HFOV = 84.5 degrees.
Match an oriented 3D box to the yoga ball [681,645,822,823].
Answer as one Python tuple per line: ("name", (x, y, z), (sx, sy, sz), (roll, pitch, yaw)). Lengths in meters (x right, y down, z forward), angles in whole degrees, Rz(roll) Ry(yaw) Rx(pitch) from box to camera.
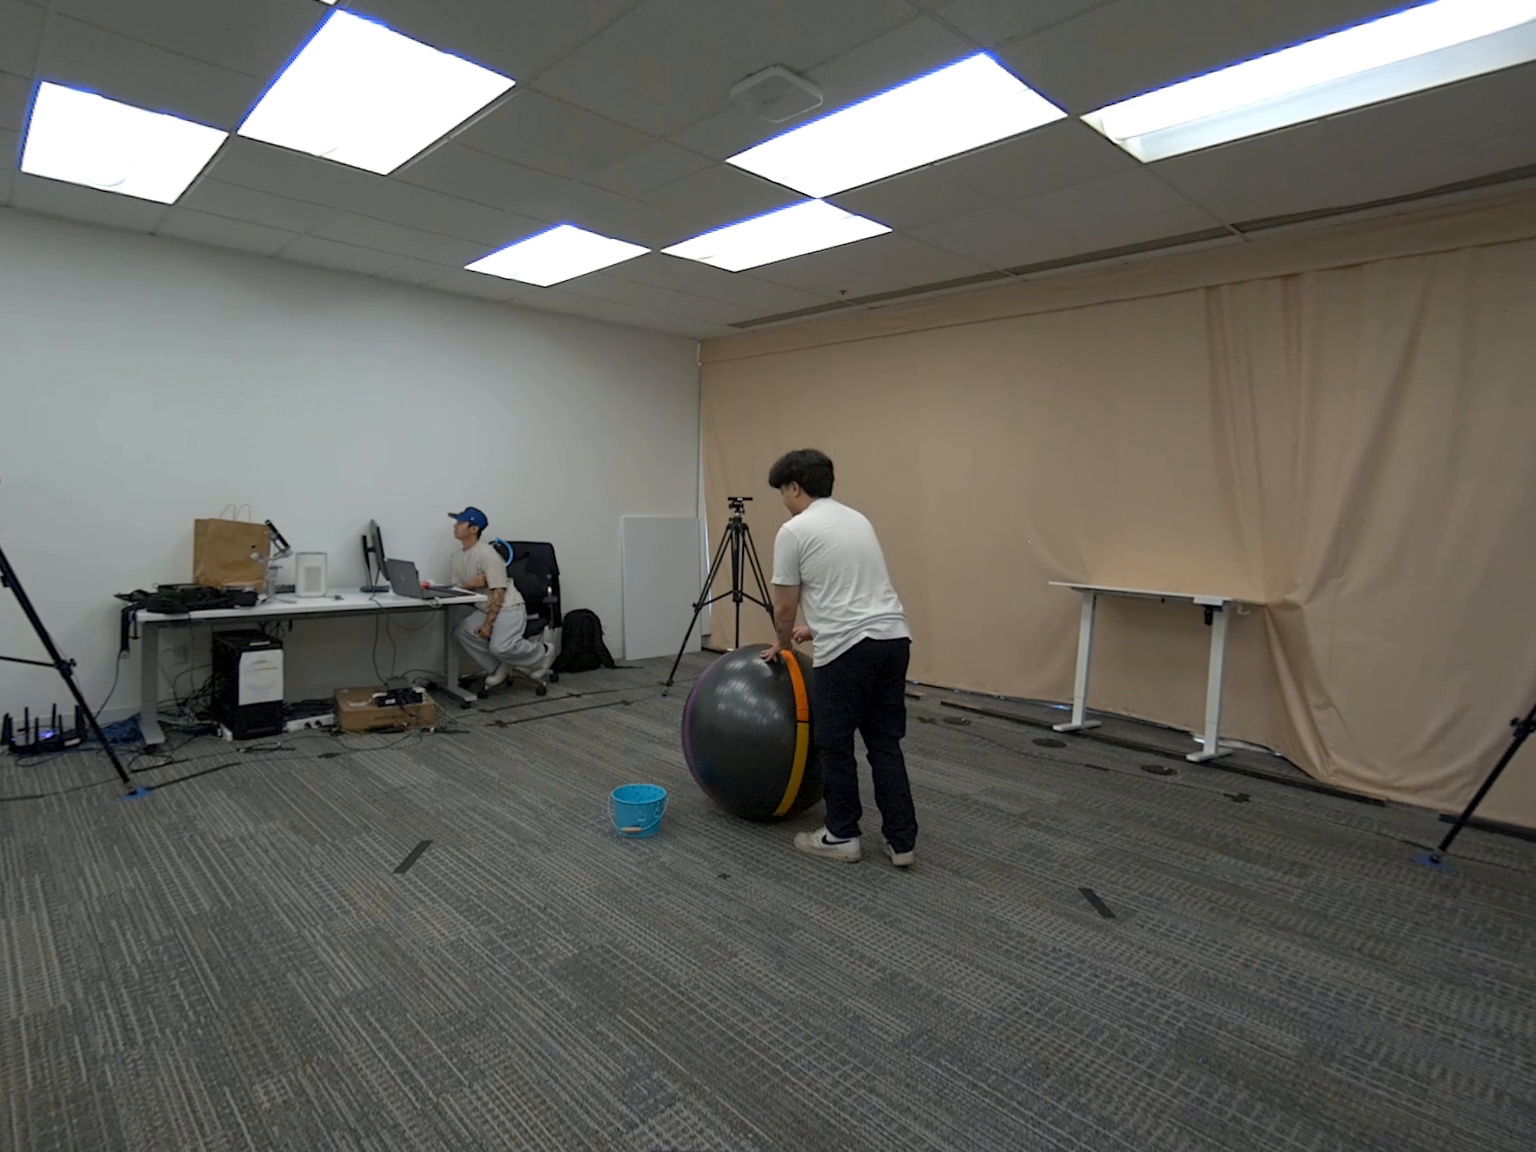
("yoga ball", (-0.015, 0.691, 3.761), (0.757, 0.756, 0.761), (1, 4, -1))
